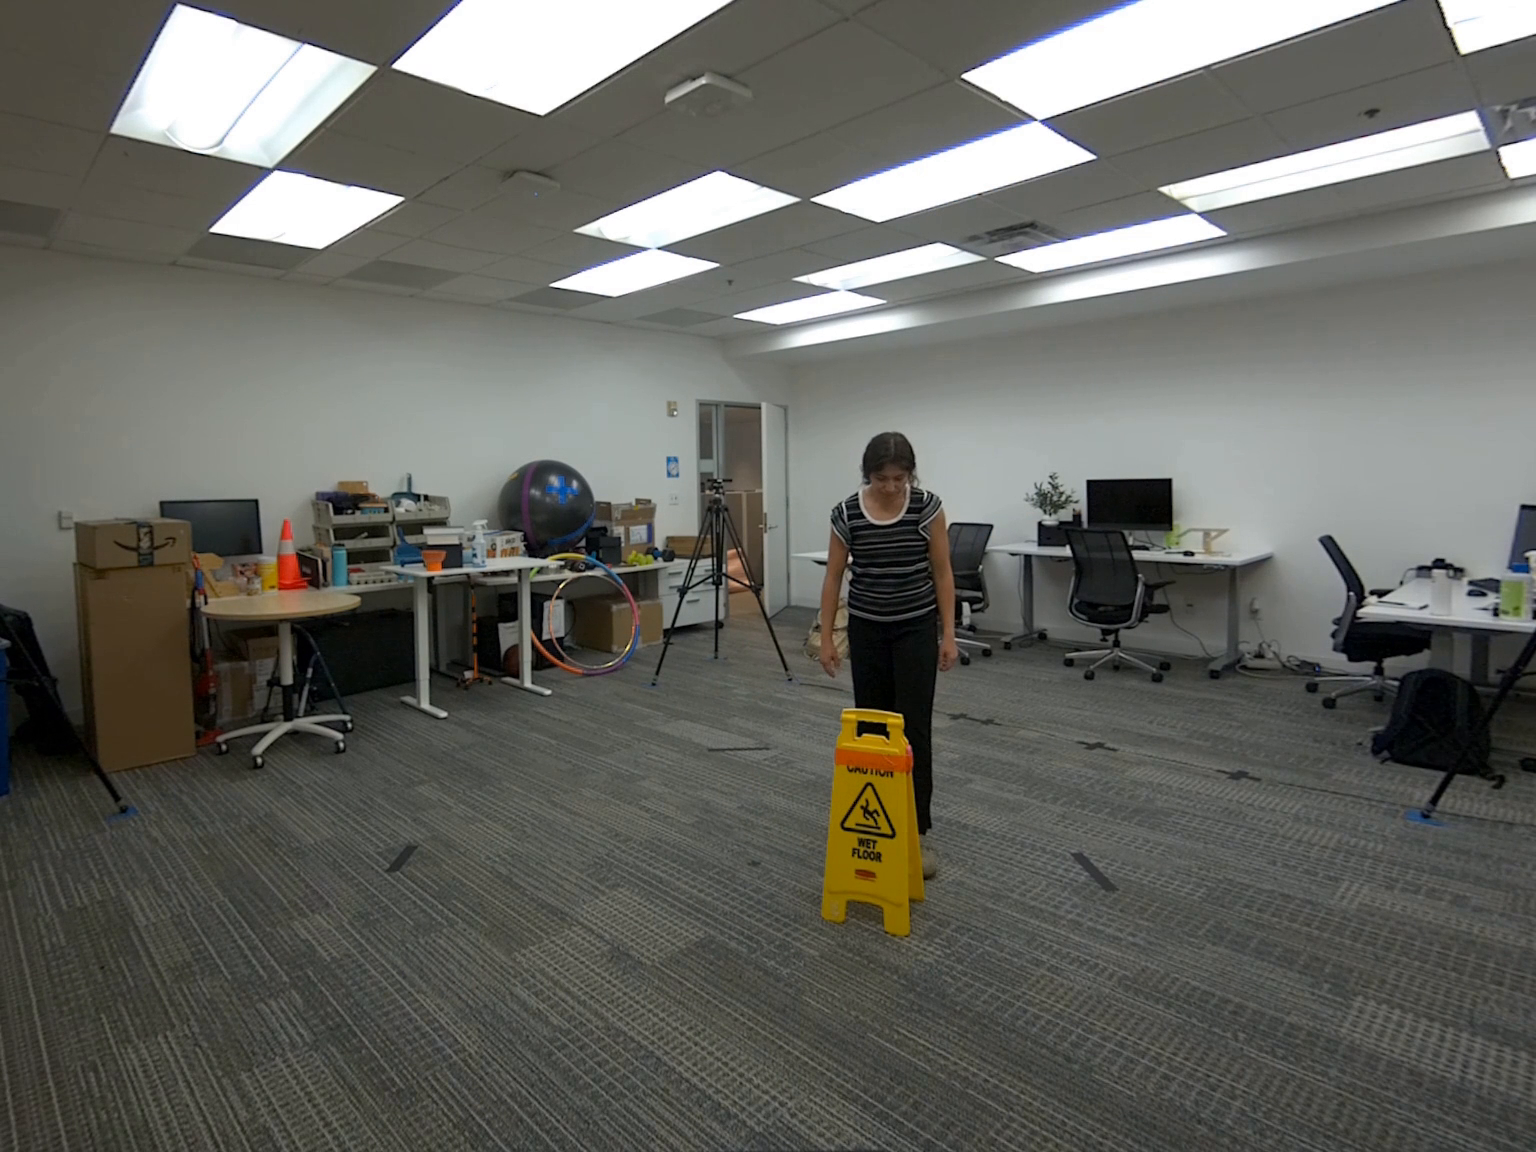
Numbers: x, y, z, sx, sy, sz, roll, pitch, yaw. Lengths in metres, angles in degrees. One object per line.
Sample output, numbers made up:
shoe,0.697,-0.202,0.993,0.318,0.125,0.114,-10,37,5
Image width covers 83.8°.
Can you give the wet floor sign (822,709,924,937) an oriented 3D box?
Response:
wet floor sign,0.340,0.758,2.736,0.288,0.643,0.285,0,5,22
